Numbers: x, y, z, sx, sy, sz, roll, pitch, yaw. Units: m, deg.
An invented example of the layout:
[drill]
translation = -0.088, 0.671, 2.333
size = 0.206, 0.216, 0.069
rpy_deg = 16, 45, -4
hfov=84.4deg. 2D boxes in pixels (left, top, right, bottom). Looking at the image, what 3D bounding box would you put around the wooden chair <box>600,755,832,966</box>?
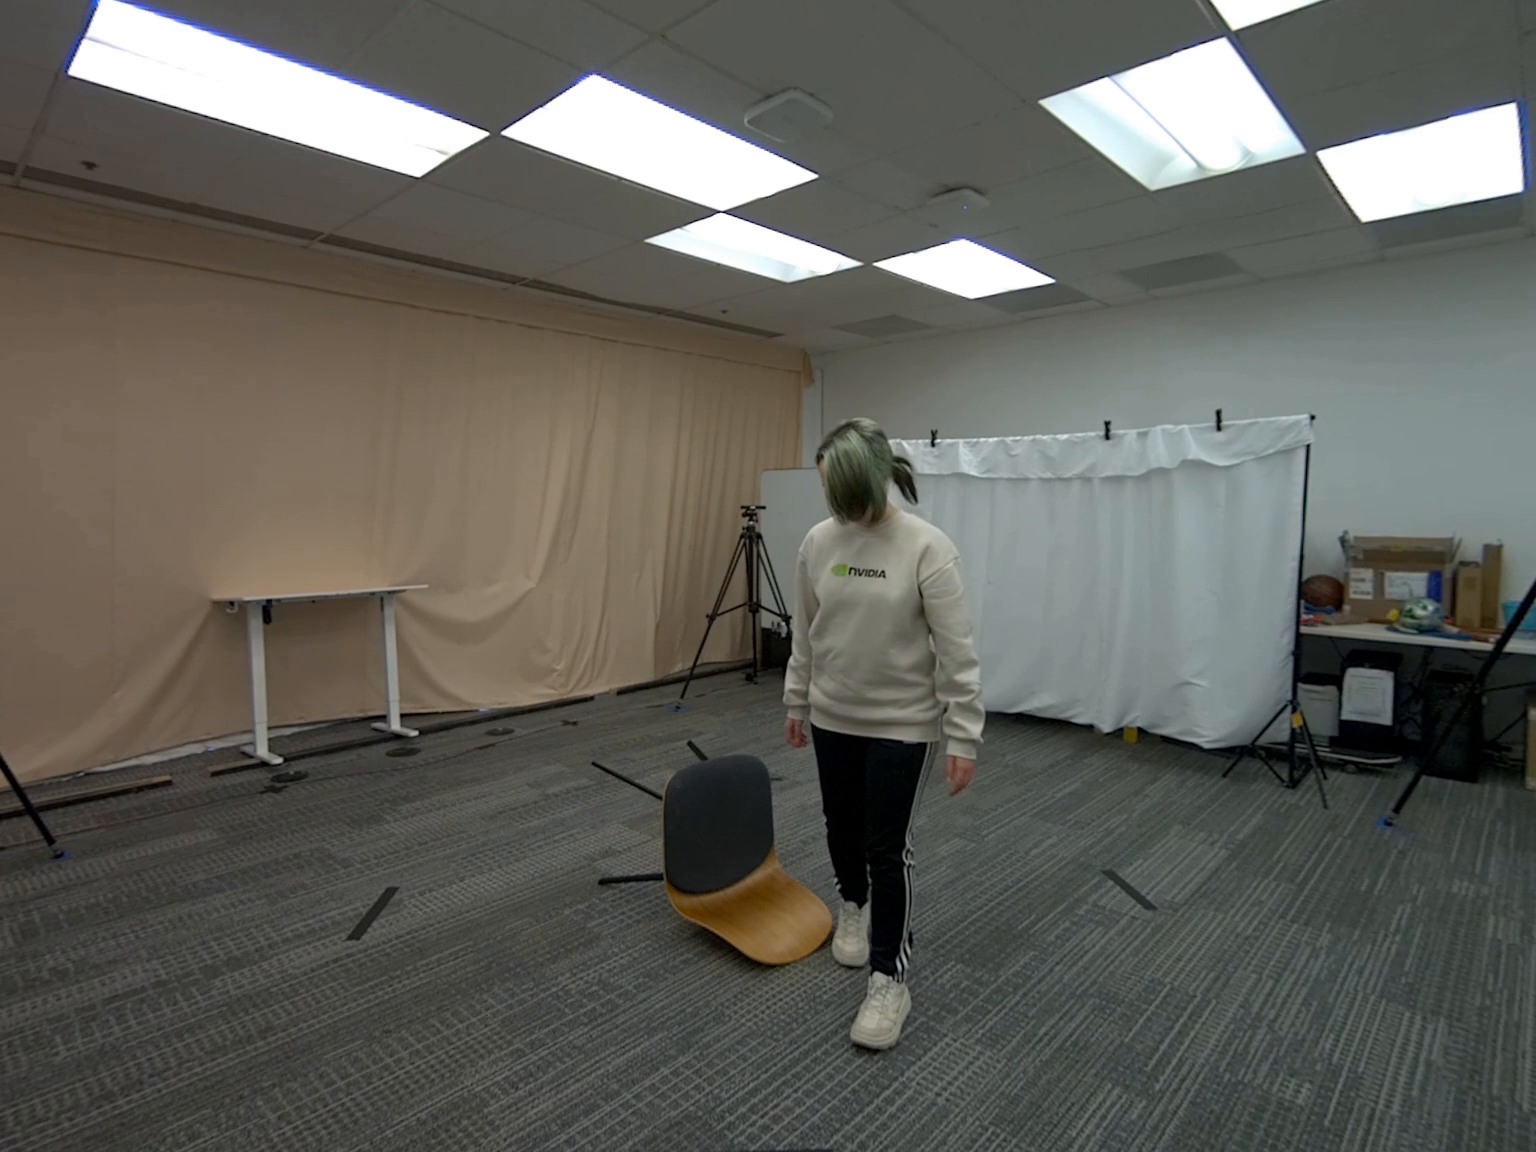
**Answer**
[wooden chair]
translation = -0.186, 0.891, 2.909
size = 0.464, 0.521, 0.907
rpy_deg = -4, 7, -40
